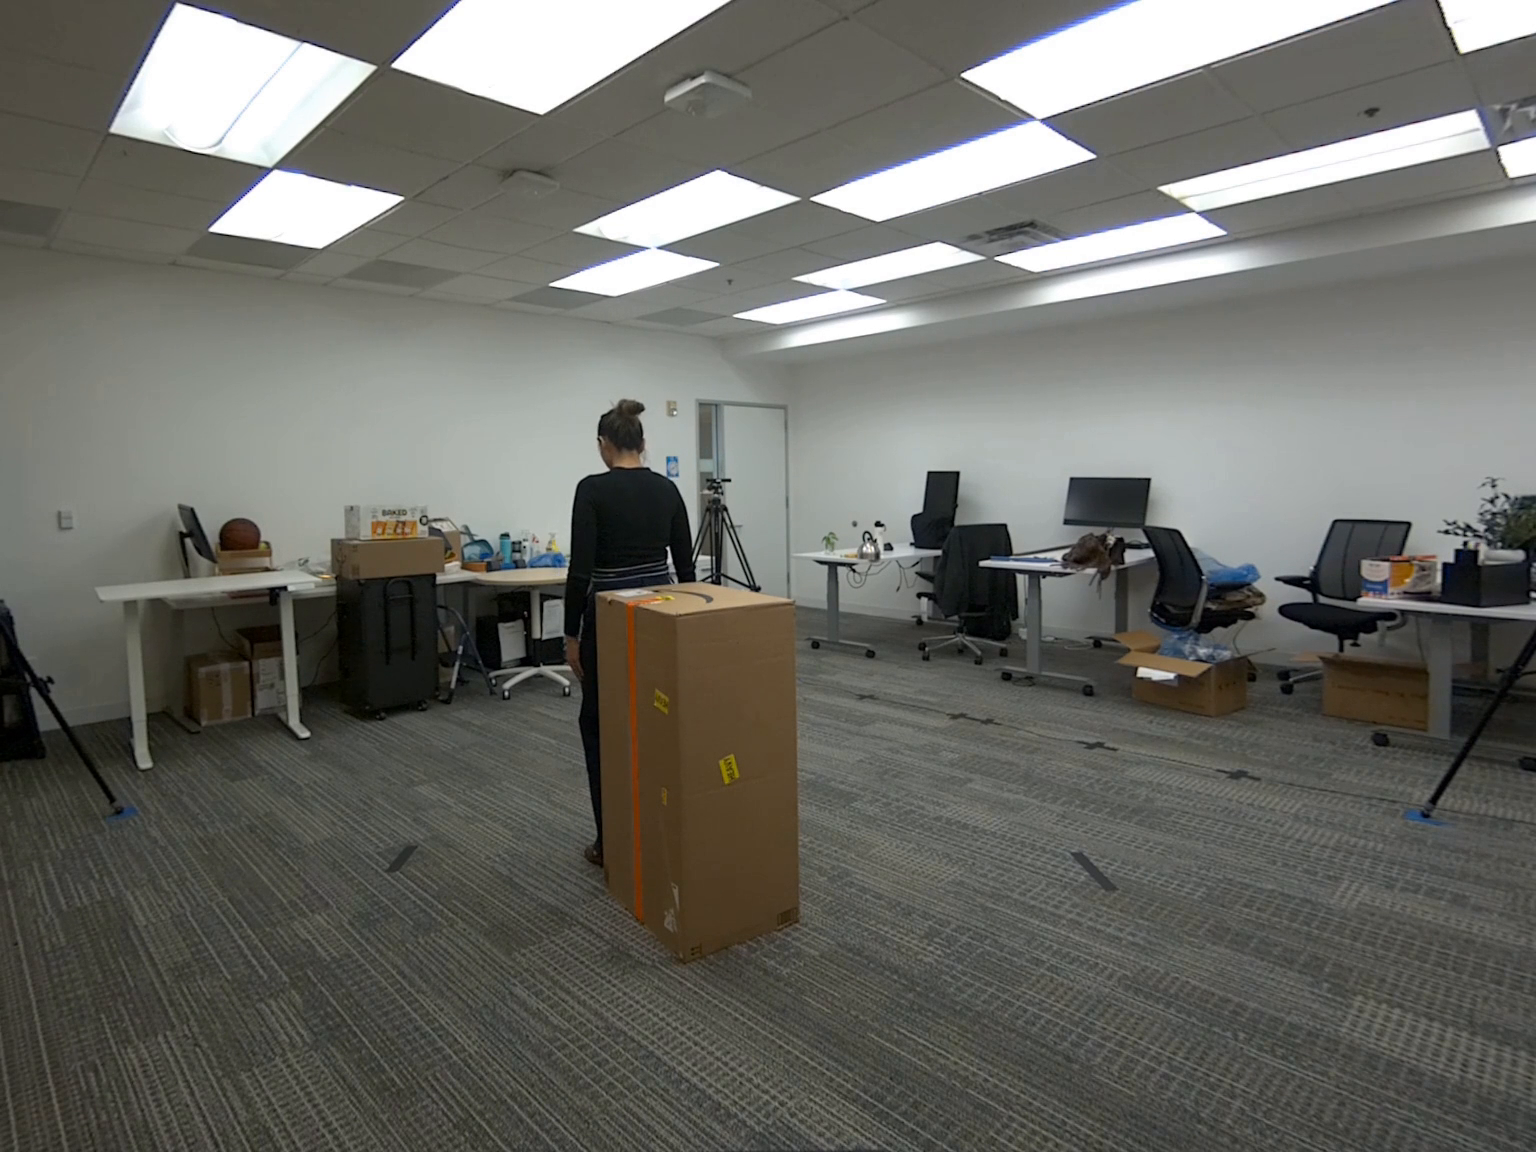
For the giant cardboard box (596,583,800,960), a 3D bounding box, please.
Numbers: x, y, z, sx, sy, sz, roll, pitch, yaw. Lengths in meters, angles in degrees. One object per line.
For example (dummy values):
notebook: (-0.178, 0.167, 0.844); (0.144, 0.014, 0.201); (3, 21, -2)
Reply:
giant cardboard box: (-0.236, 0.577, 2.781); (0.416, 1.022, 0.594); (-4, 5, -33)
